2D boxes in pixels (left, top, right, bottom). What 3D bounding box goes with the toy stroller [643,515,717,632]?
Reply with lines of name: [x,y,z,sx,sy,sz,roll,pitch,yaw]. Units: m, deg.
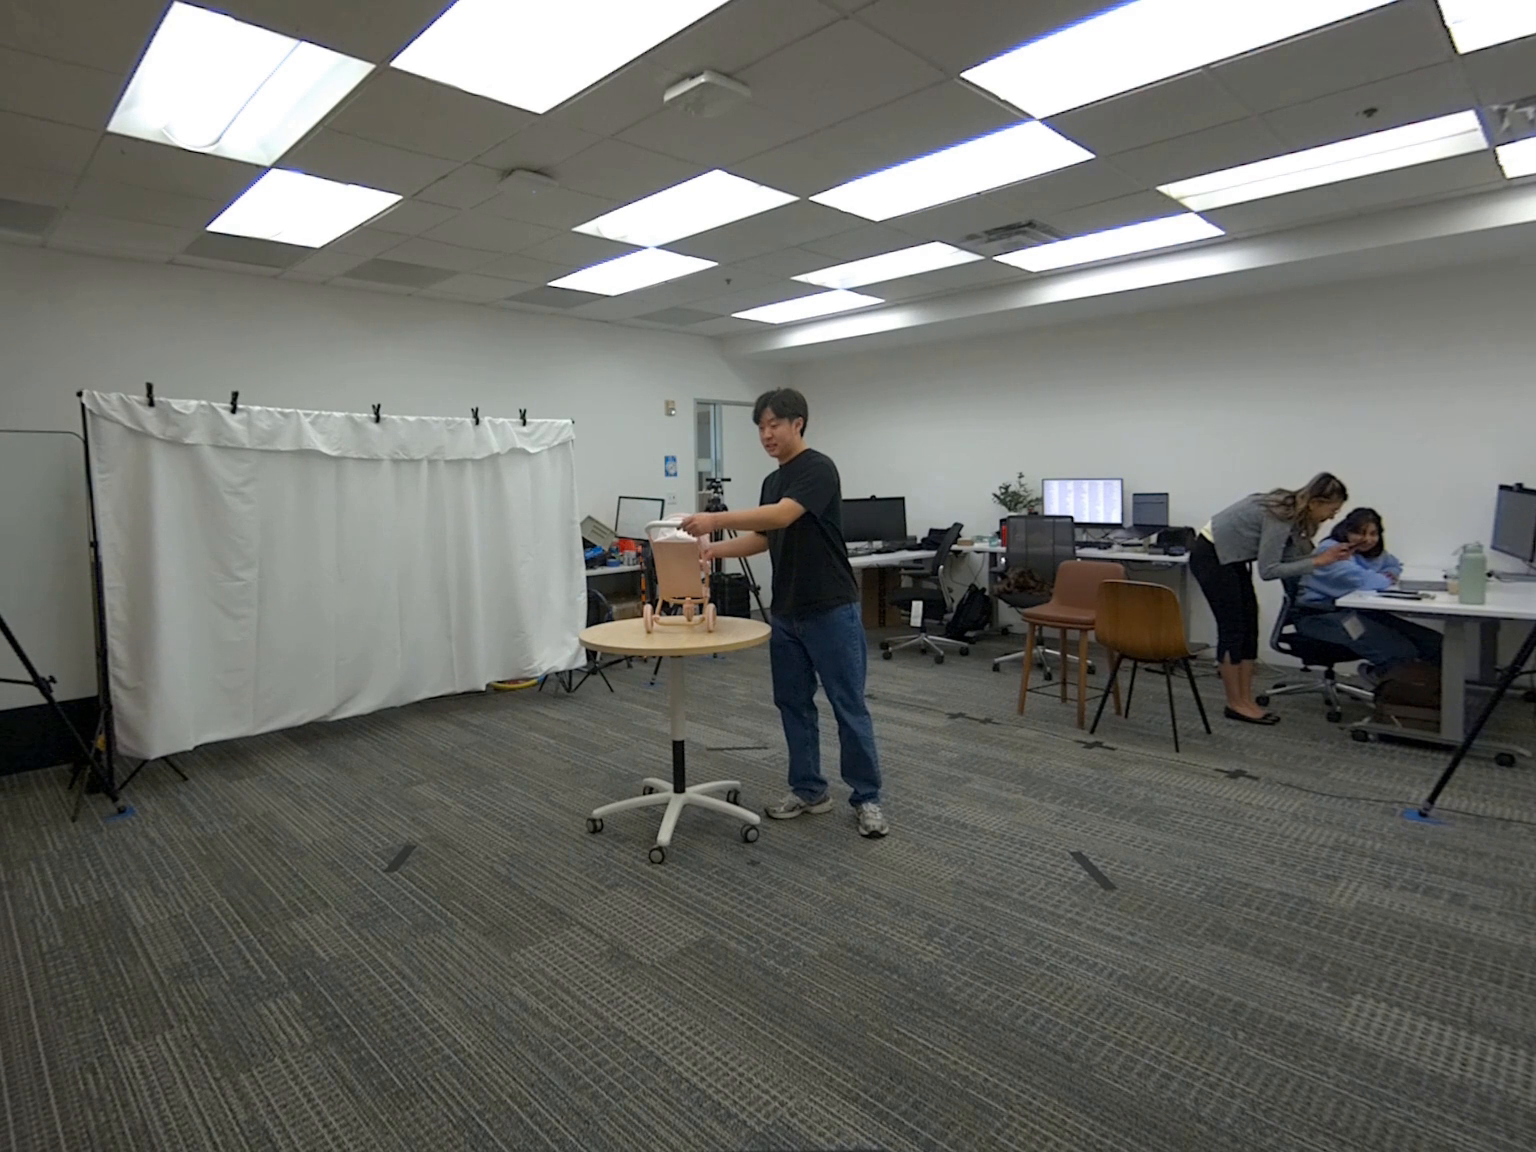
toy stroller: [-0.344,-0.012,3.423,0.284,0.526,0.344,0,18,7]
